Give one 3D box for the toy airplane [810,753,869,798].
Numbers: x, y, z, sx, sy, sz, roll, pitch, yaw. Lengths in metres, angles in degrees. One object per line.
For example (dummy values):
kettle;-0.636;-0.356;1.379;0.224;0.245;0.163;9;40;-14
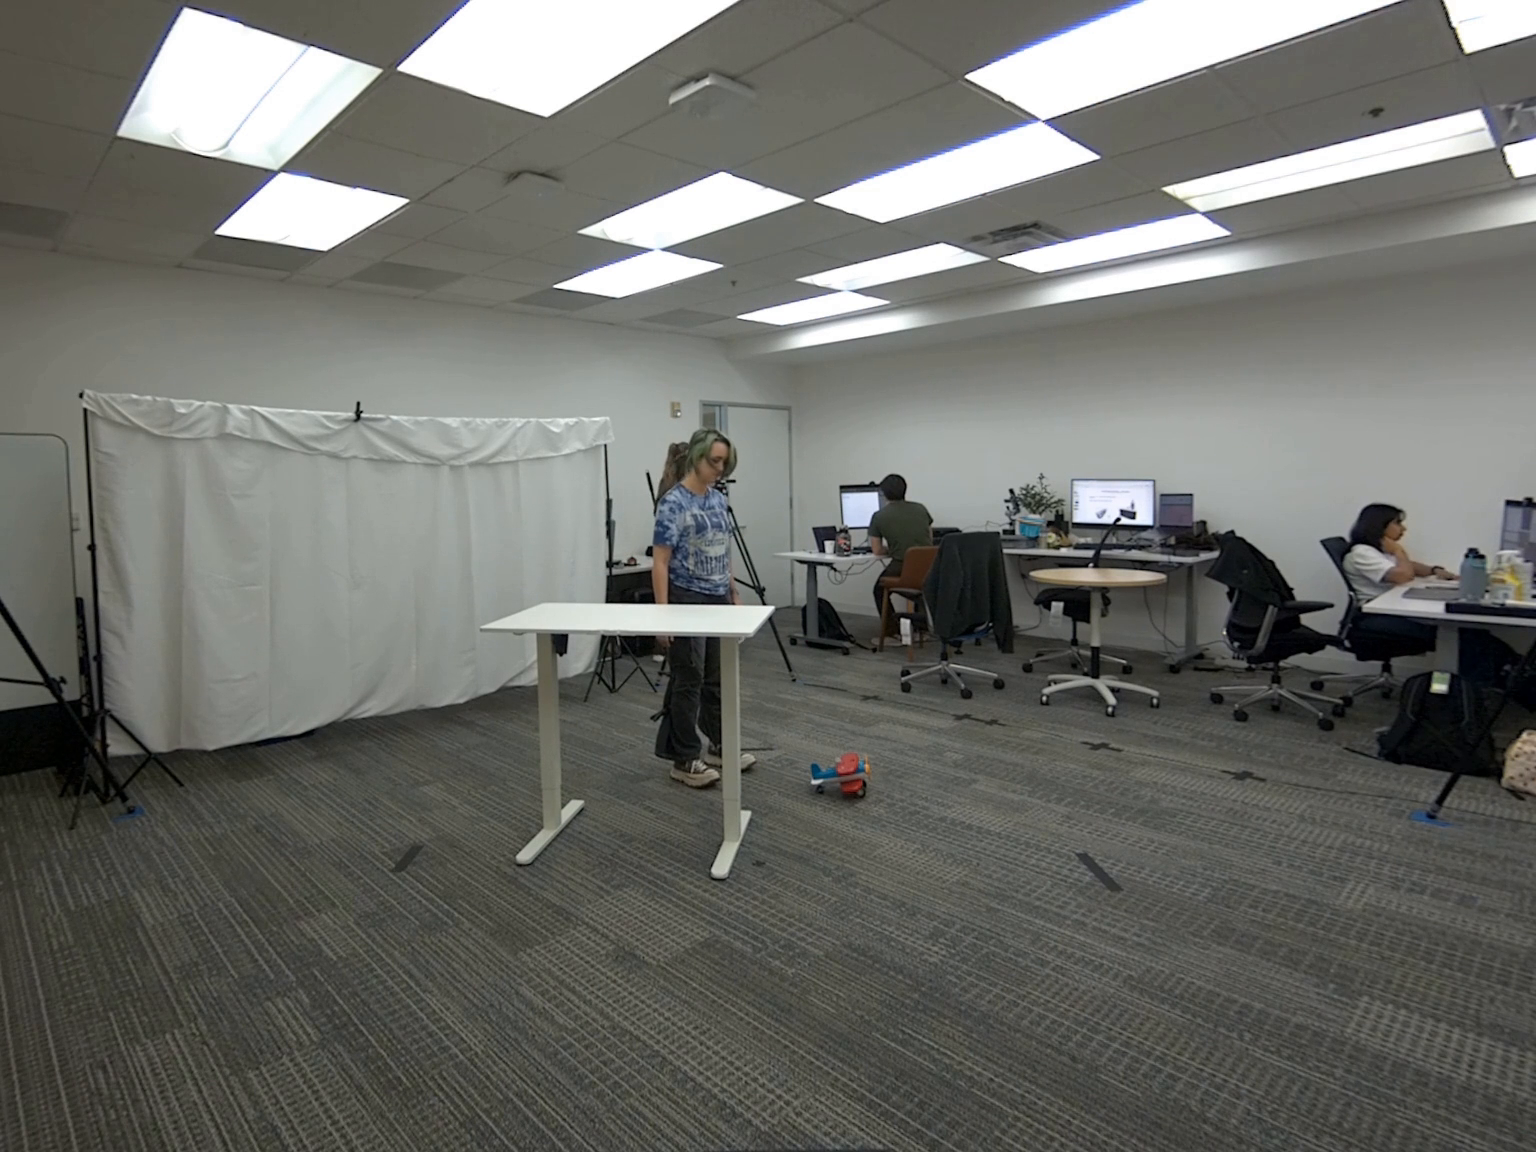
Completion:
toy airplane;0.323;0.892;3.774;0.255;0.156;0.256;-2;6;-18
